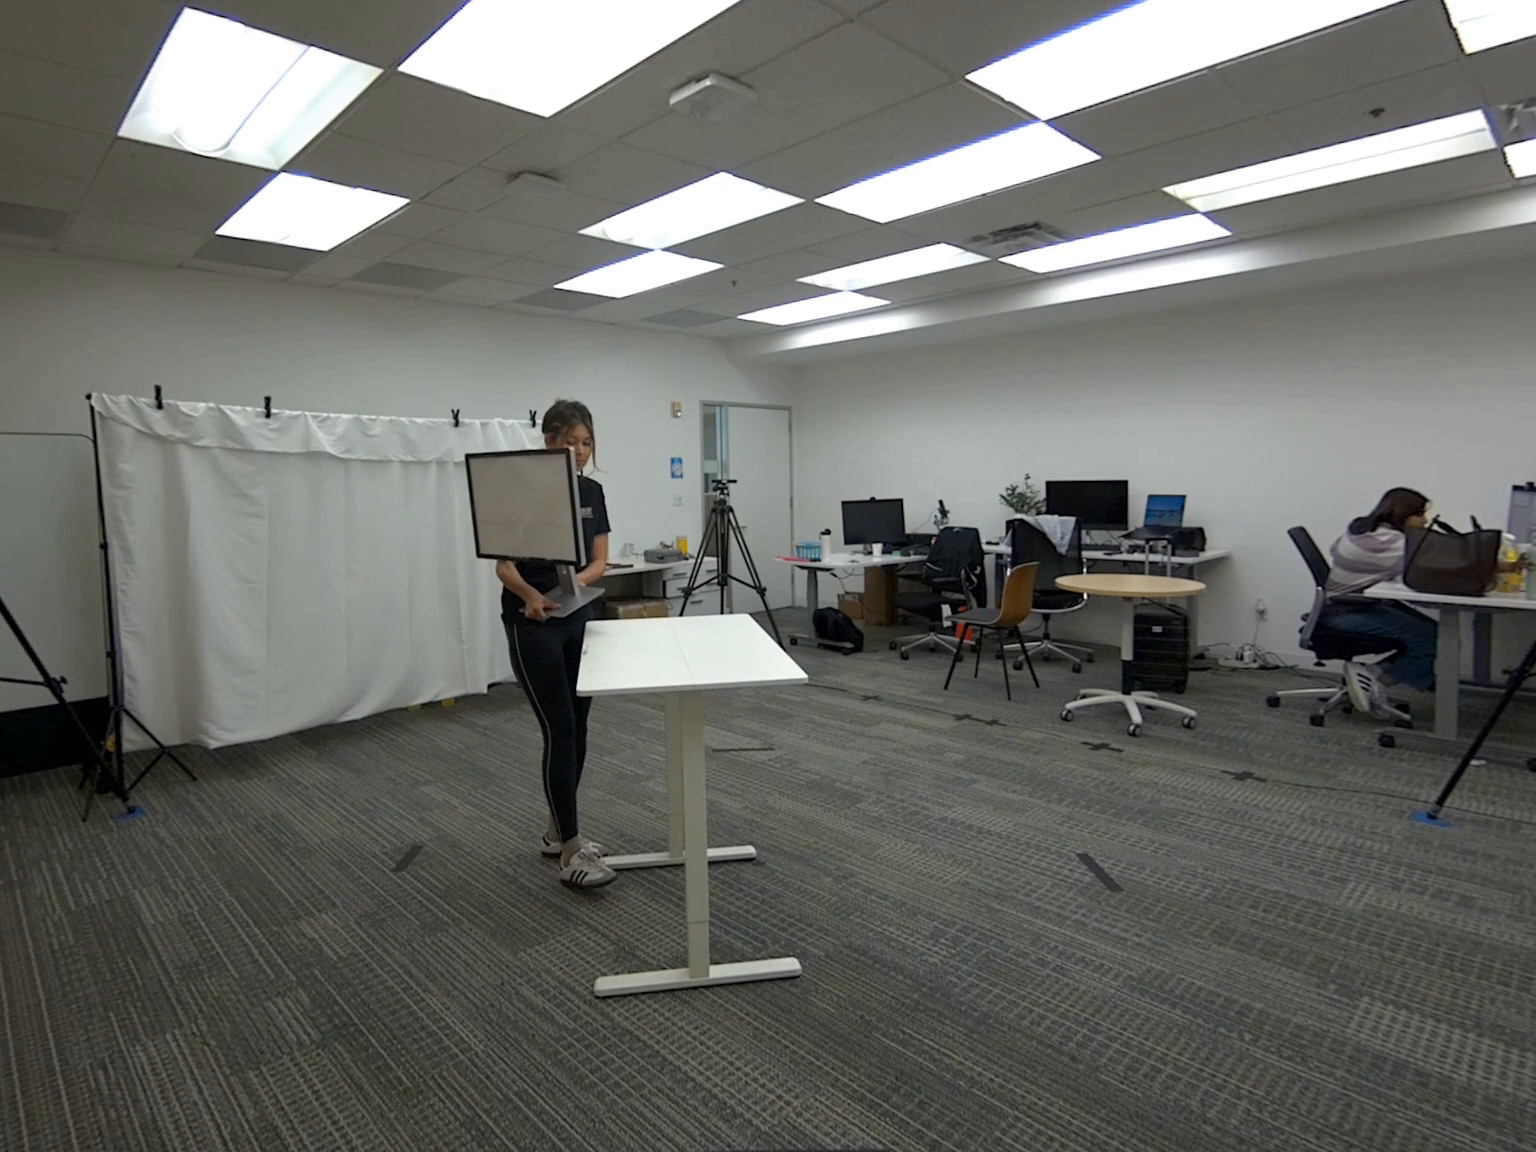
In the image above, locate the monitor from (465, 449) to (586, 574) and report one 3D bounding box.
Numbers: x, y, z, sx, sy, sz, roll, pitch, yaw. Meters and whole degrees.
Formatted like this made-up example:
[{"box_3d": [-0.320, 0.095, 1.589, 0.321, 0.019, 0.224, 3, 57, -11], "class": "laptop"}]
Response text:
[{"box_3d": [-0.759, -0.153, 2.814, 0.555, 0.513, 0.185, 3, 22, 39], "class": "monitor"}]
